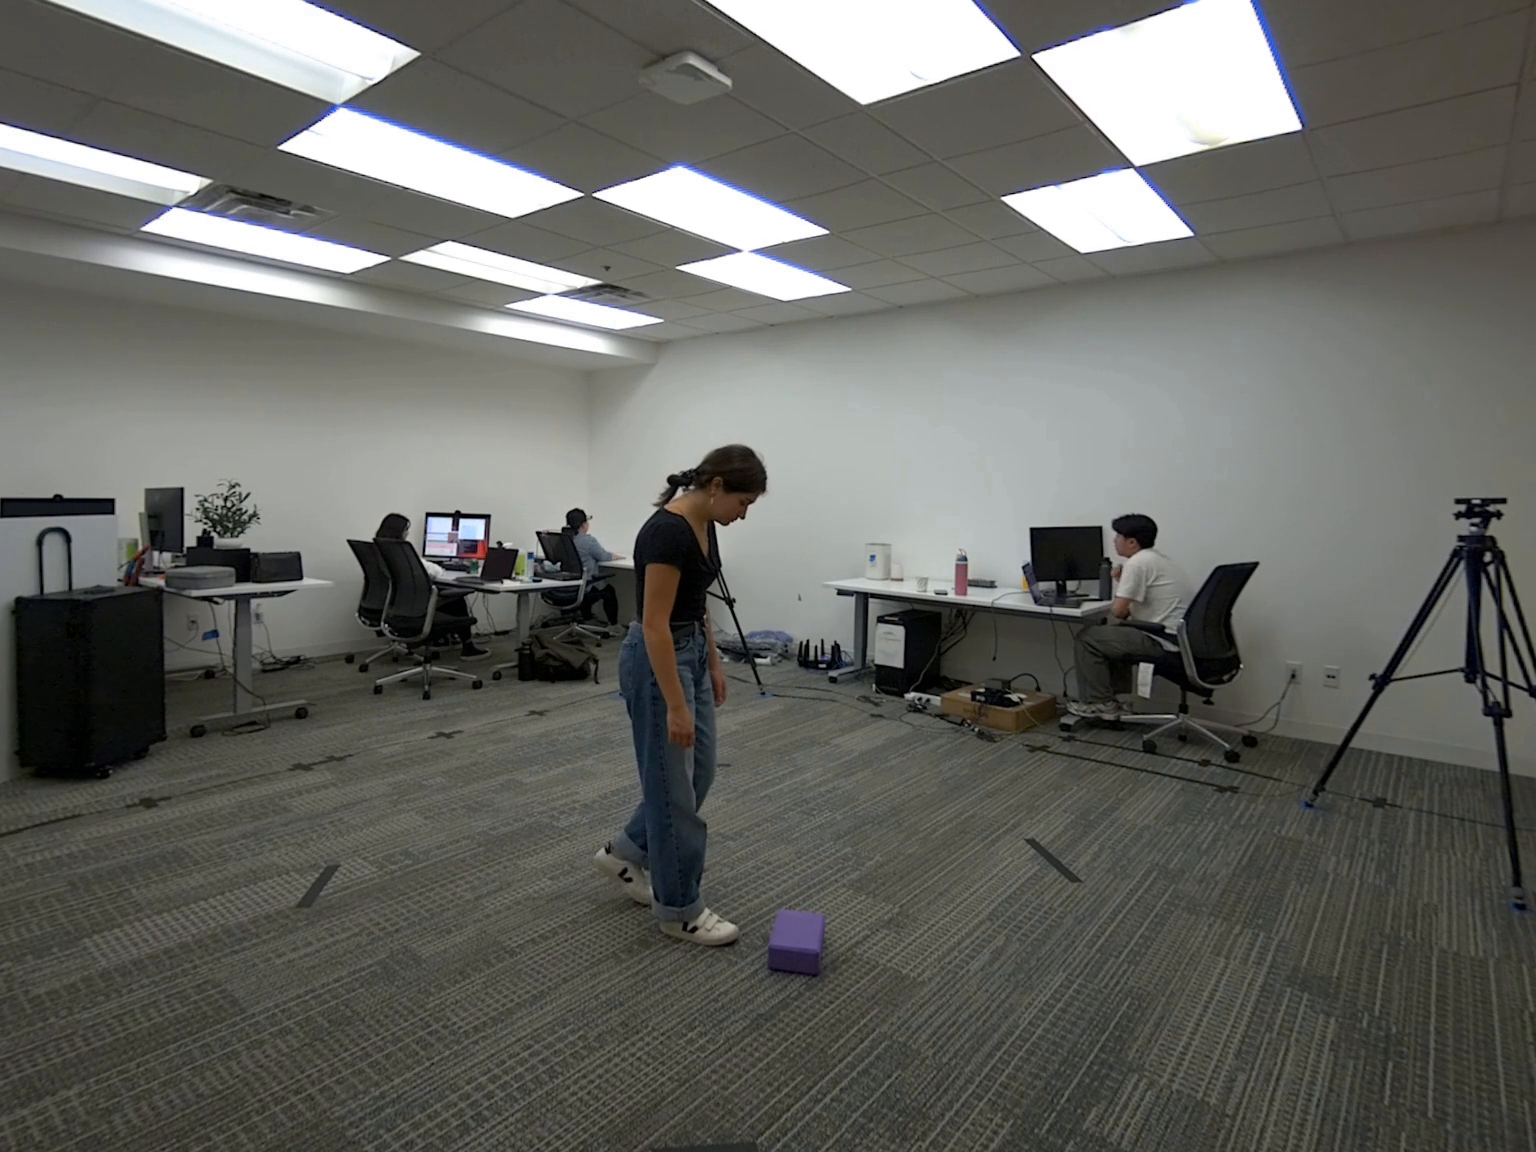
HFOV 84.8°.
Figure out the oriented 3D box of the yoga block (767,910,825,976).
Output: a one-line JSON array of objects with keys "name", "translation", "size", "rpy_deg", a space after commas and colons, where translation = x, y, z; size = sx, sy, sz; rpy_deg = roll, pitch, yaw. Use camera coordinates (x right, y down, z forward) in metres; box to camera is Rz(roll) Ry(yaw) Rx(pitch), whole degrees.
[{"name": "yoga block", "translation": [0.089, 1.084, 2.555], "size": [0.151, 0.076, 0.227], "rpy_deg": [1, 4, 9]}]
